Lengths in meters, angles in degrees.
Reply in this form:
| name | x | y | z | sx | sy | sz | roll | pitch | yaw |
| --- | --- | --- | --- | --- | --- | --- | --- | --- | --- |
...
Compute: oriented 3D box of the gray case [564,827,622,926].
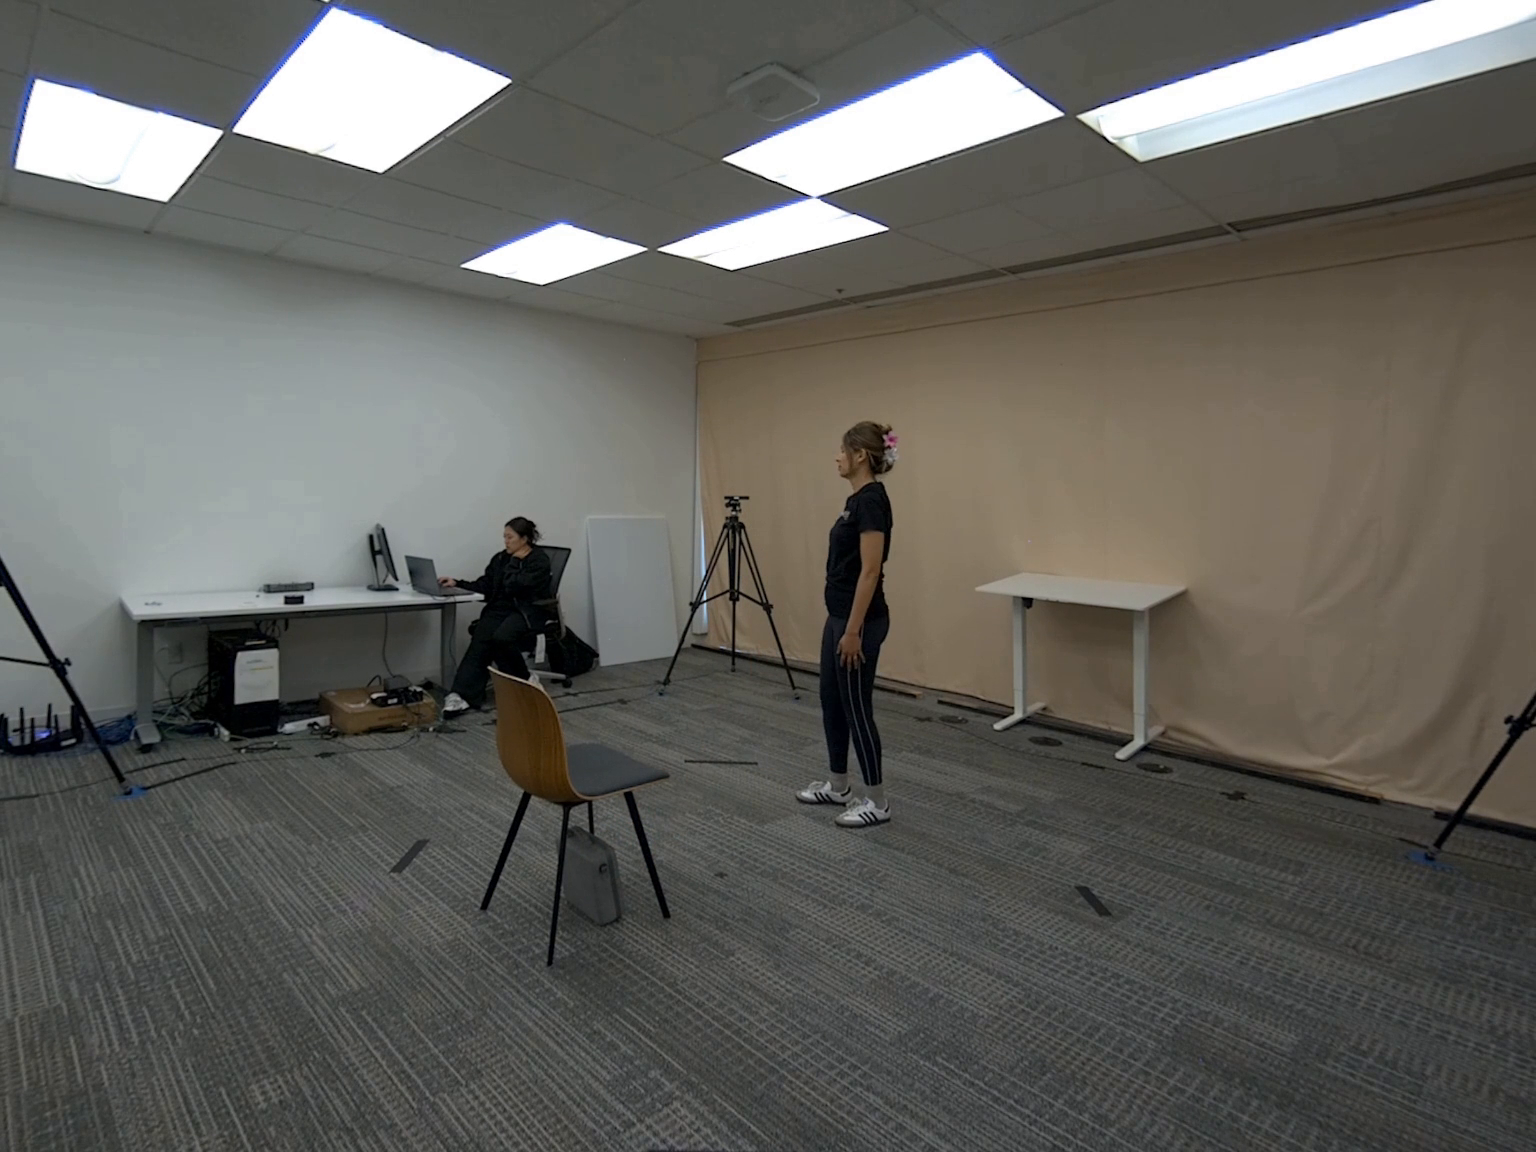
| name | x | y | z | sx | sy | sz | roll | pitch | yaw |
| --- | --- | --- | --- | --- | --- | --- | --- | --- | --- |
| gray case | -0.599 | 0.996 | 2.796 | 0.102 | 0.258 | 0.263 | -14 | 12 | -38 |
